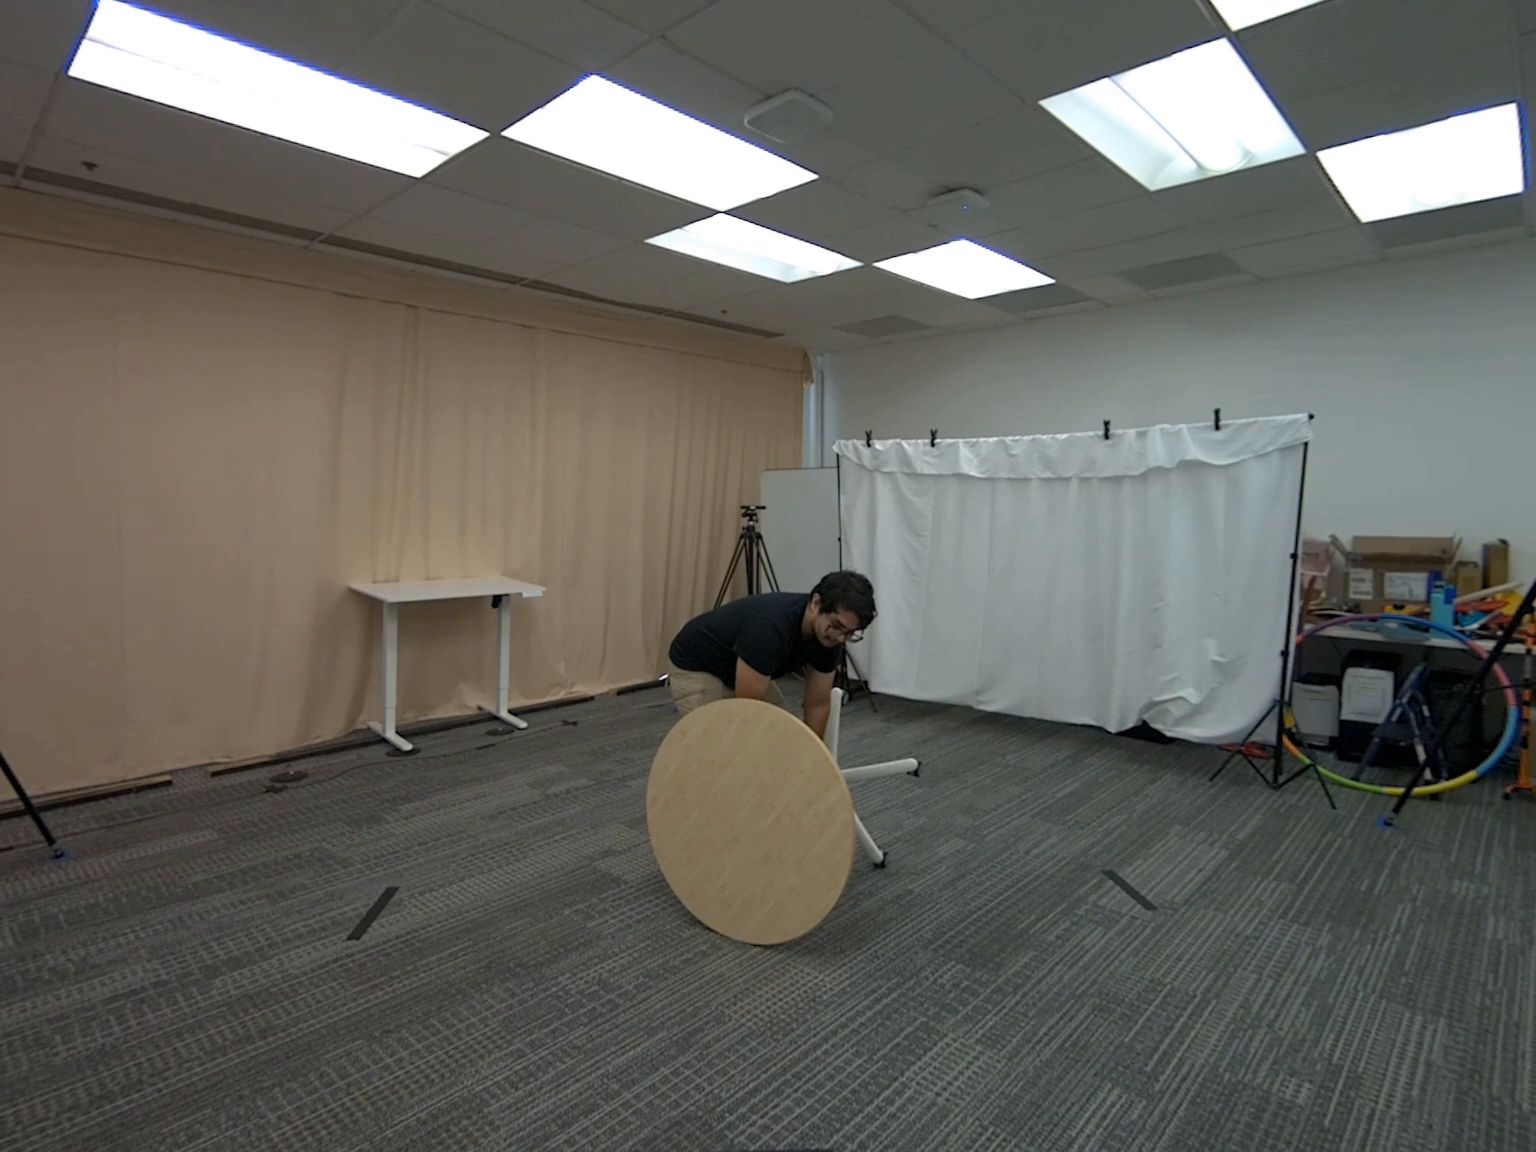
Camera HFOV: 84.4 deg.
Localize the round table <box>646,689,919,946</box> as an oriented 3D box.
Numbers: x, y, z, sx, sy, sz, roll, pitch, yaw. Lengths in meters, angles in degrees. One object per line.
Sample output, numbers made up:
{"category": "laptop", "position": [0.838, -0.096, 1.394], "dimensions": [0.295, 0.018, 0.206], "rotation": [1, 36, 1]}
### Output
{"category": "round table", "position": [0.112, 0.781, 3.040], "dimensions": [0.808, 0.785, 0.764], "rotation": [2, 0, 30]}
